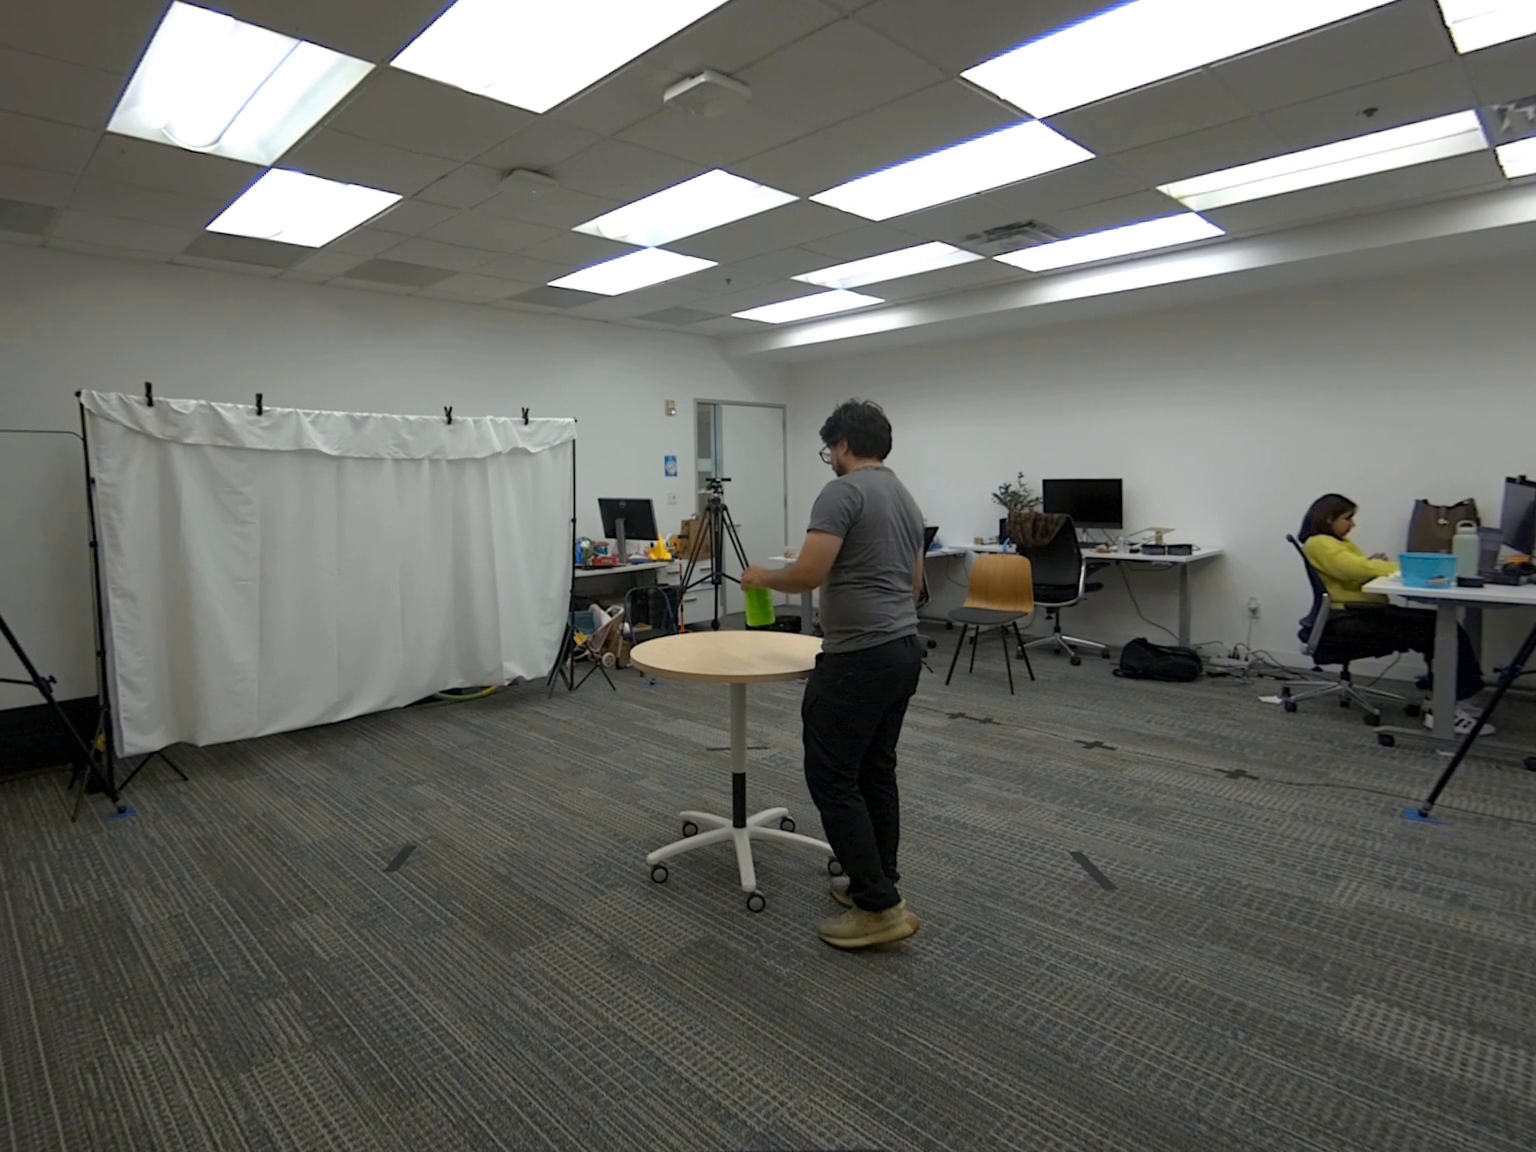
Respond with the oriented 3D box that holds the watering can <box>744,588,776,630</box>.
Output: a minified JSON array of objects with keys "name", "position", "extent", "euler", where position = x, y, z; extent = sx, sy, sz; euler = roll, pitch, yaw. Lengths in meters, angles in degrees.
[{"name":"watering can","position":[-0.009,0.075,2.916],"extent":[0.100,0.177,0.273],"euler":[-7,1,20]}]
